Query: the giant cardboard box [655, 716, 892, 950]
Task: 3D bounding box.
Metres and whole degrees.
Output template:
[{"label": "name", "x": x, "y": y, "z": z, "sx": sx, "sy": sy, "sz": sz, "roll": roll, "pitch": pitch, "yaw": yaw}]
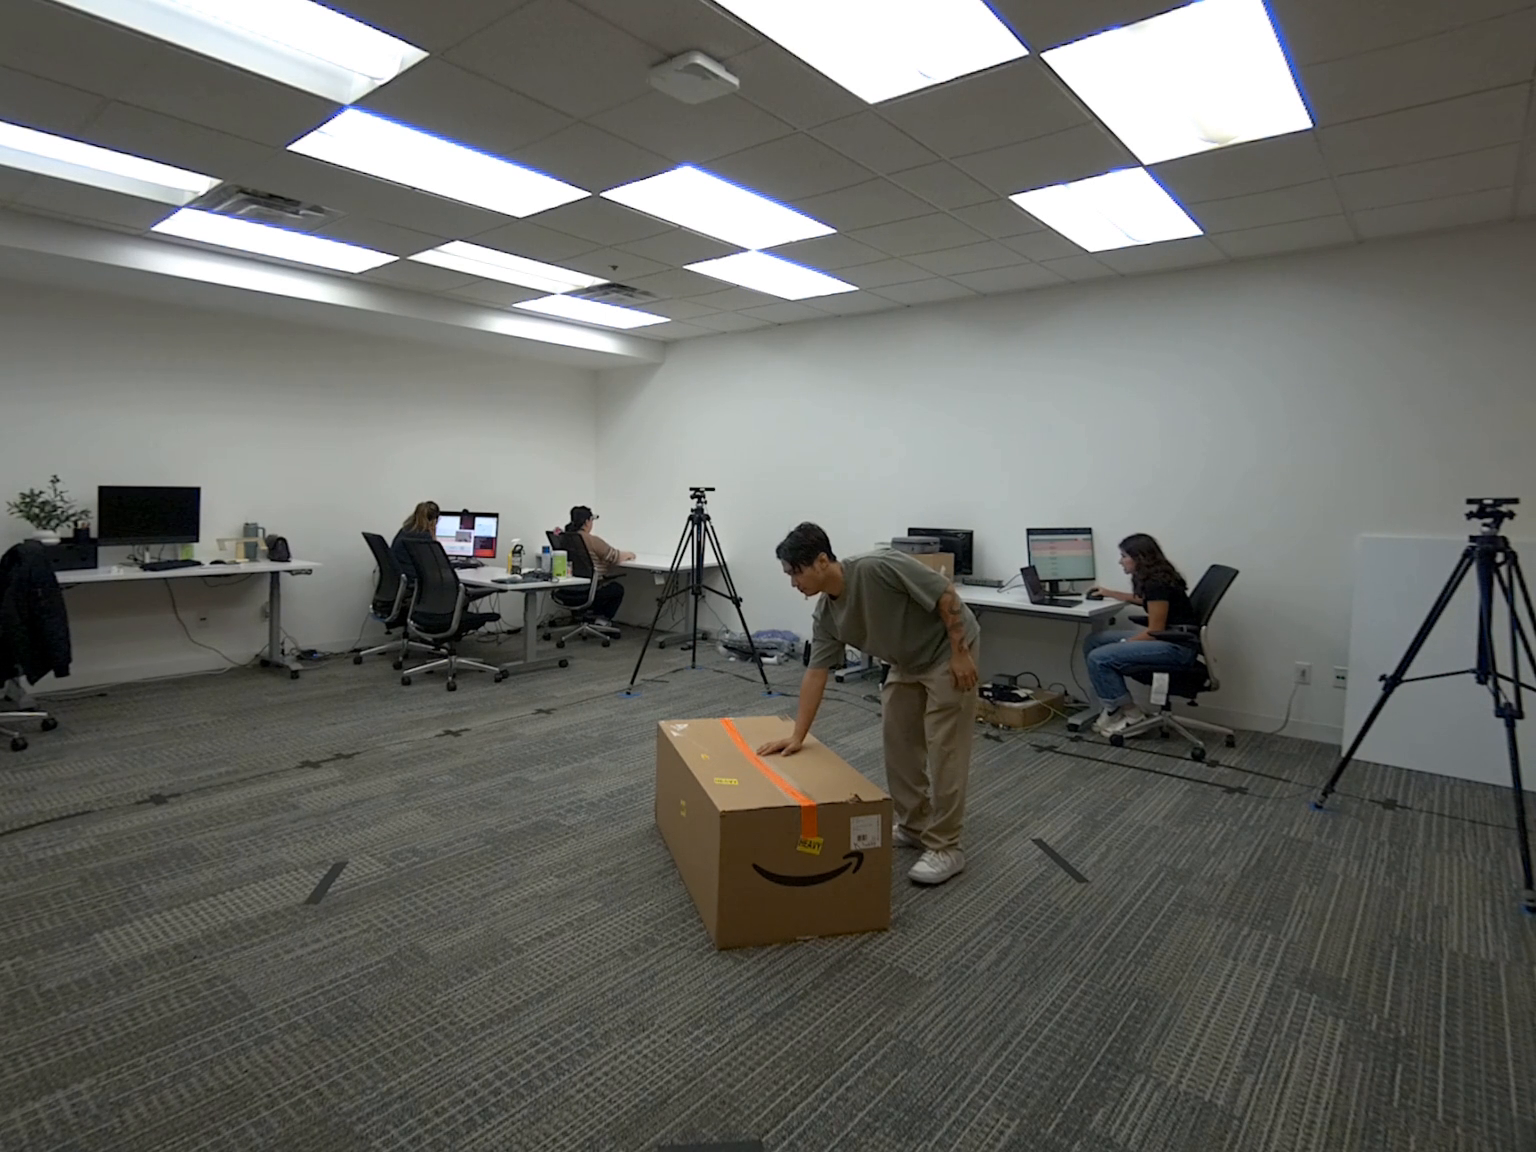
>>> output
[{"label": "giant cardboard box", "x": -0.043, "y": 0.856, "z": 3.103, "sx": 0.568, "sy": 0.424, "sz": 1.047, "roll": 0, "pitch": 5, "yaw": -17}]
